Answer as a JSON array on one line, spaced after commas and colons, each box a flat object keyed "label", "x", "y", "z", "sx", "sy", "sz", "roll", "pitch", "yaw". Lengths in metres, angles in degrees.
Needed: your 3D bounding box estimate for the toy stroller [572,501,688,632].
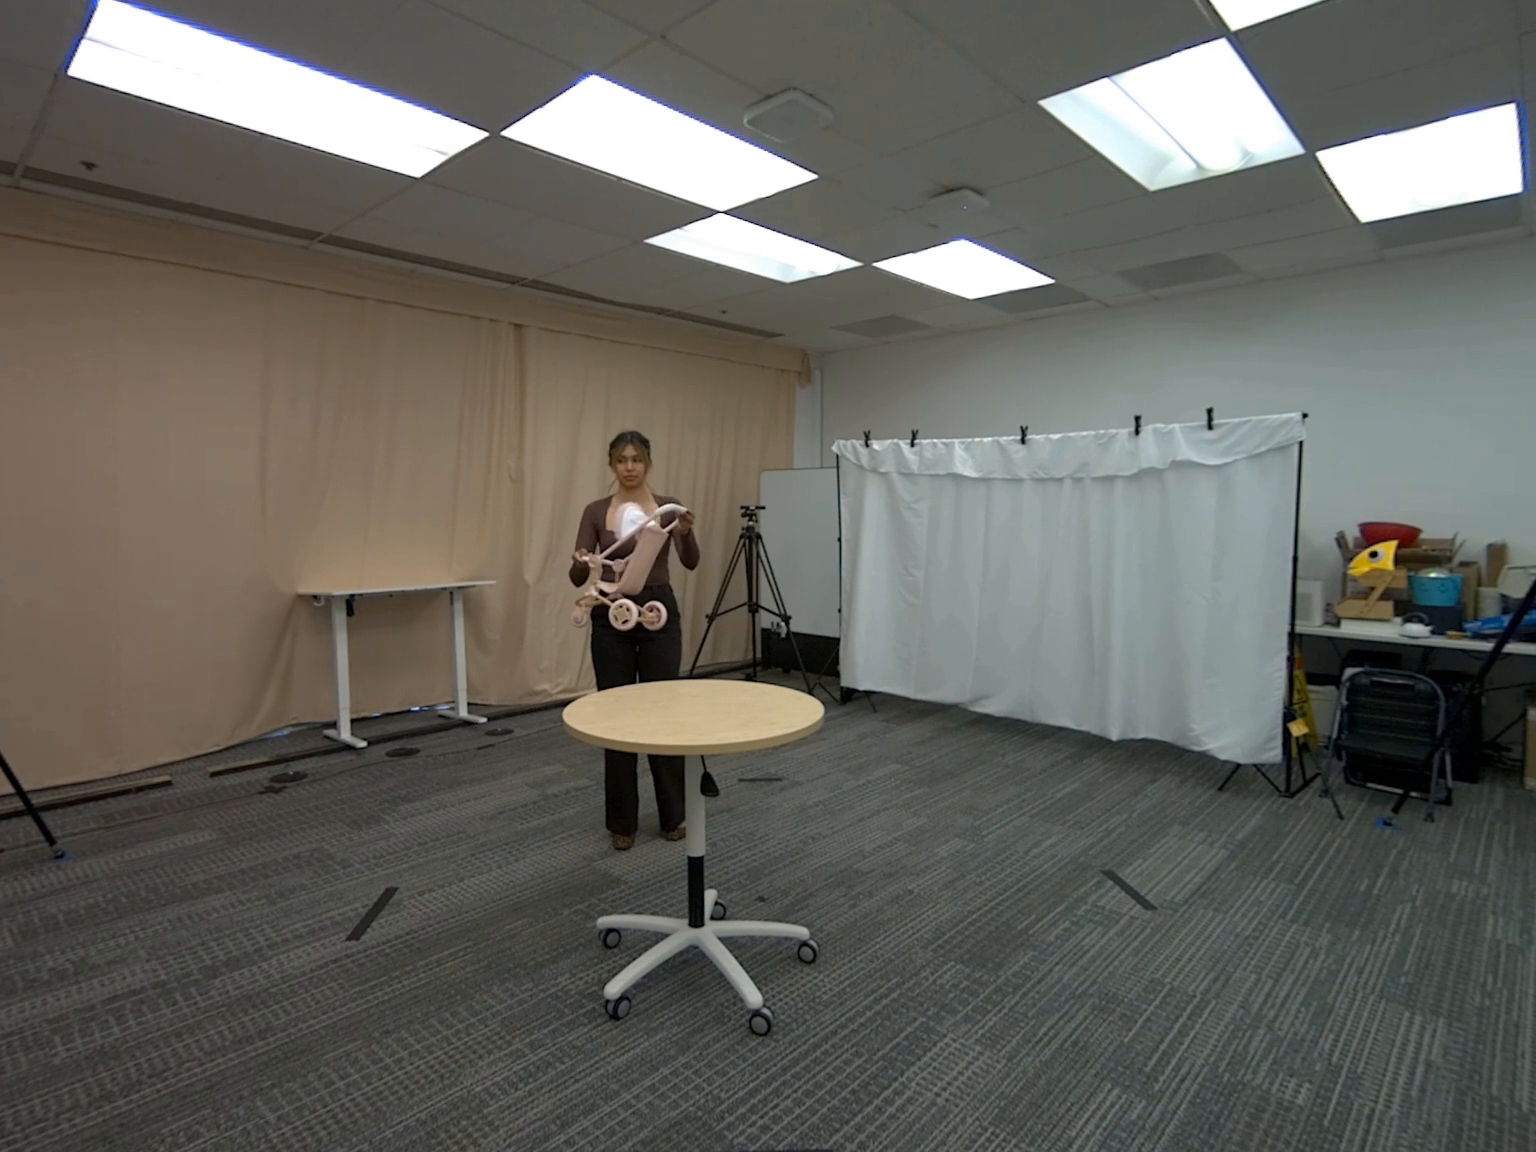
[{"label": "toy stroller", "x": -0.530, "y": -0.031, "z": 3.125, "sx": 0.351, "sy": 0.534, "sz": 0.274, "roll": 15, "pitch": 2, "yaw": 25}]
